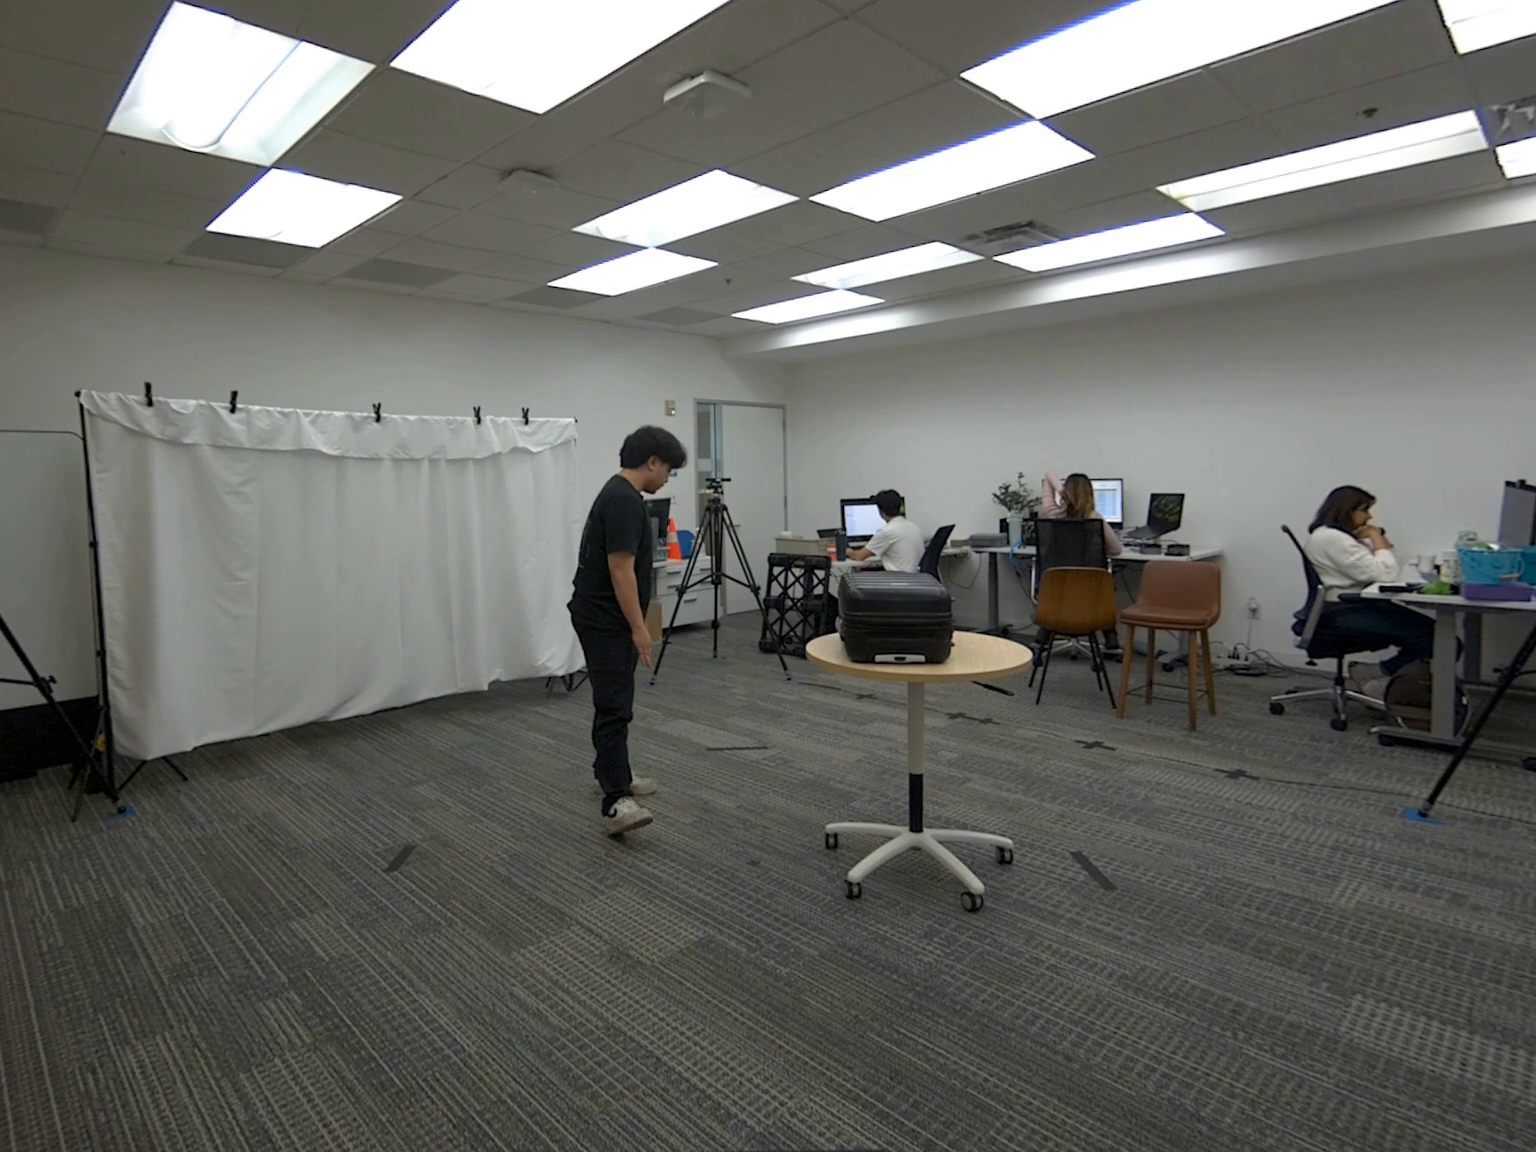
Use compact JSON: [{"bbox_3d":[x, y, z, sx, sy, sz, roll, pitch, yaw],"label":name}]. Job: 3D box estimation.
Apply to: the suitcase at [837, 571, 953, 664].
[{"bbox_3d":[0.430,0.137,2.973,0.378,0.247,0.549,2,8,5],"label":"suitcase"}]
